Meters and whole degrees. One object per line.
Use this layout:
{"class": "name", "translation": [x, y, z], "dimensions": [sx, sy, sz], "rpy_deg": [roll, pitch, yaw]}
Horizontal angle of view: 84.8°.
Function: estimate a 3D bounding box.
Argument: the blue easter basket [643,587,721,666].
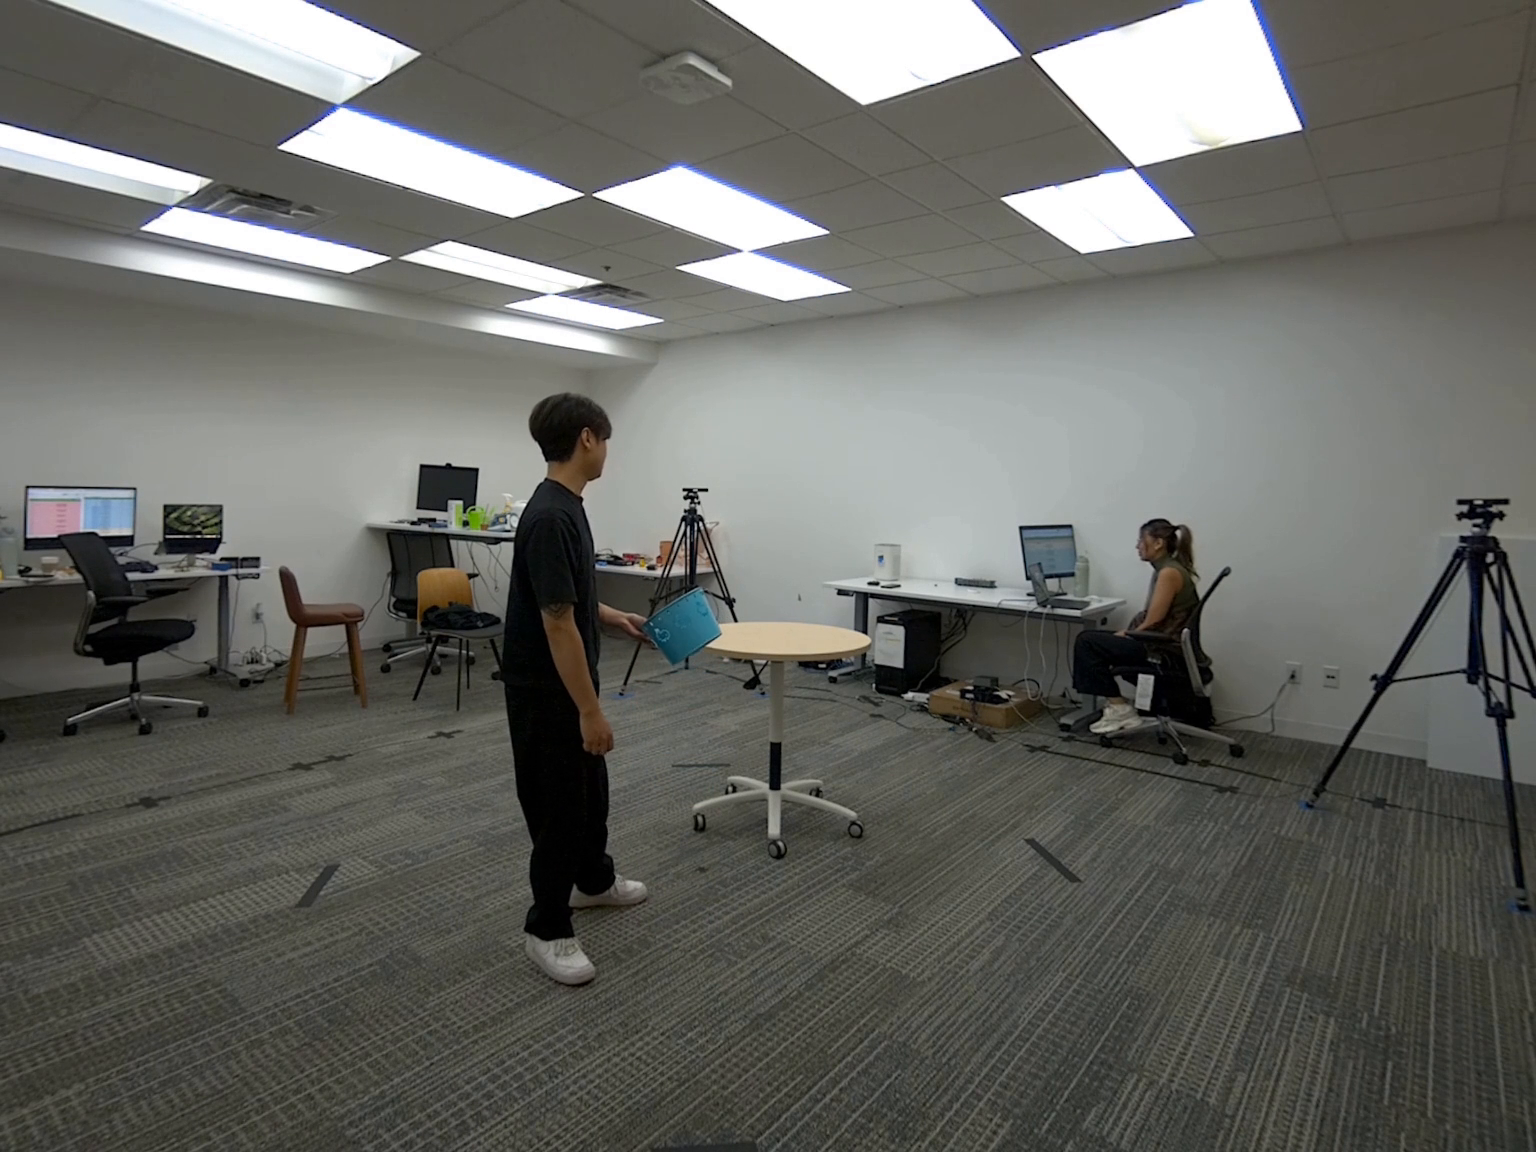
{"class": "blue easter basket", "translation": [-0.265, 0.157, 2.578], "dimensions": [0.243, 0.157, 0.243], "rpy_deg": [-33, -2, -4]}
